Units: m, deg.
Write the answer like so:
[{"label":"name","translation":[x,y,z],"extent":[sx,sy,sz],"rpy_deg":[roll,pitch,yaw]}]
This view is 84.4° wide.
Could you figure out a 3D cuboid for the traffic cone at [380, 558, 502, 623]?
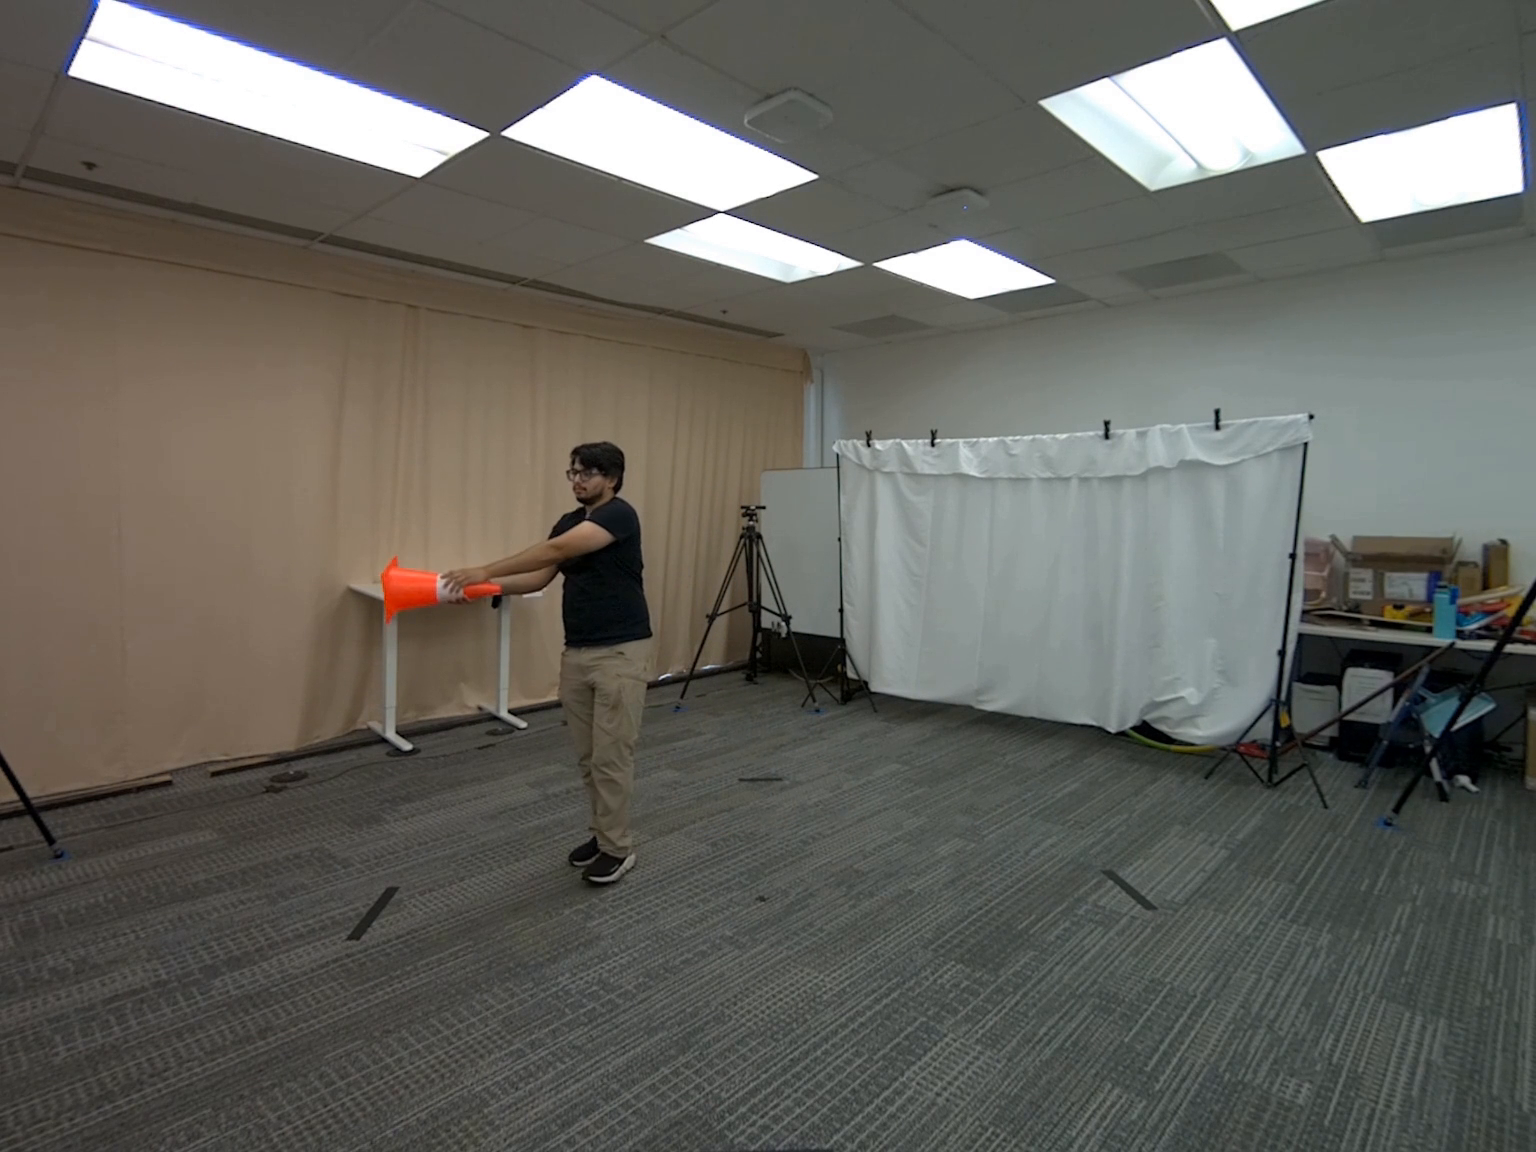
[{"label":"traffic cone","translation":[-1.155,0.057,2.996],"extent":[0.384,0.201,0.207],"rpy_deg":[3,19,0]}]
